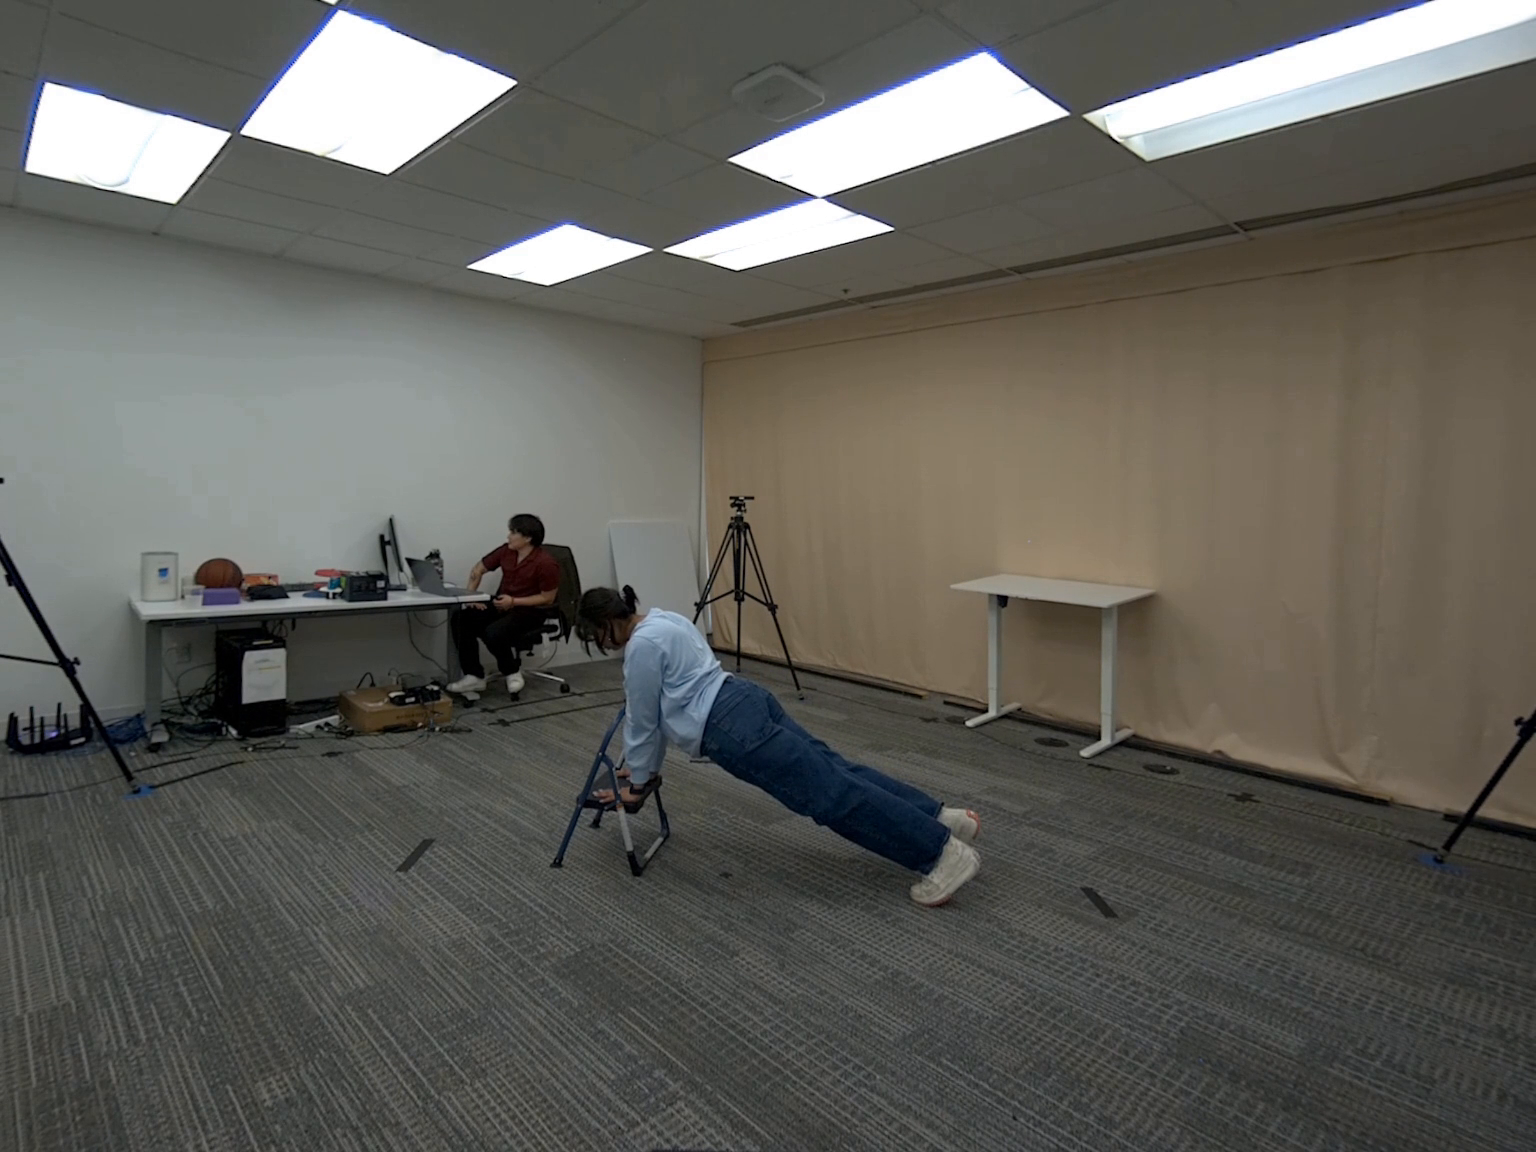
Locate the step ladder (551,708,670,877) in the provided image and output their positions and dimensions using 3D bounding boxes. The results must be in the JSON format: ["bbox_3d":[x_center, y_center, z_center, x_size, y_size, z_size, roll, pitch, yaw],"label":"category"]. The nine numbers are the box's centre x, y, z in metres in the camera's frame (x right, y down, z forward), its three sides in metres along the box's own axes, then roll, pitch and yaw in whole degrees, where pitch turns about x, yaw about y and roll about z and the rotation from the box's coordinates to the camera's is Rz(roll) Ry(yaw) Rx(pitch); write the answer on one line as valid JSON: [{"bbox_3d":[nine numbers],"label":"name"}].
[{"bbox_3d":[-0.602,0.773,3.290,0.352,0.604,0.428,2,4,10],"label":"step ladder"}]
